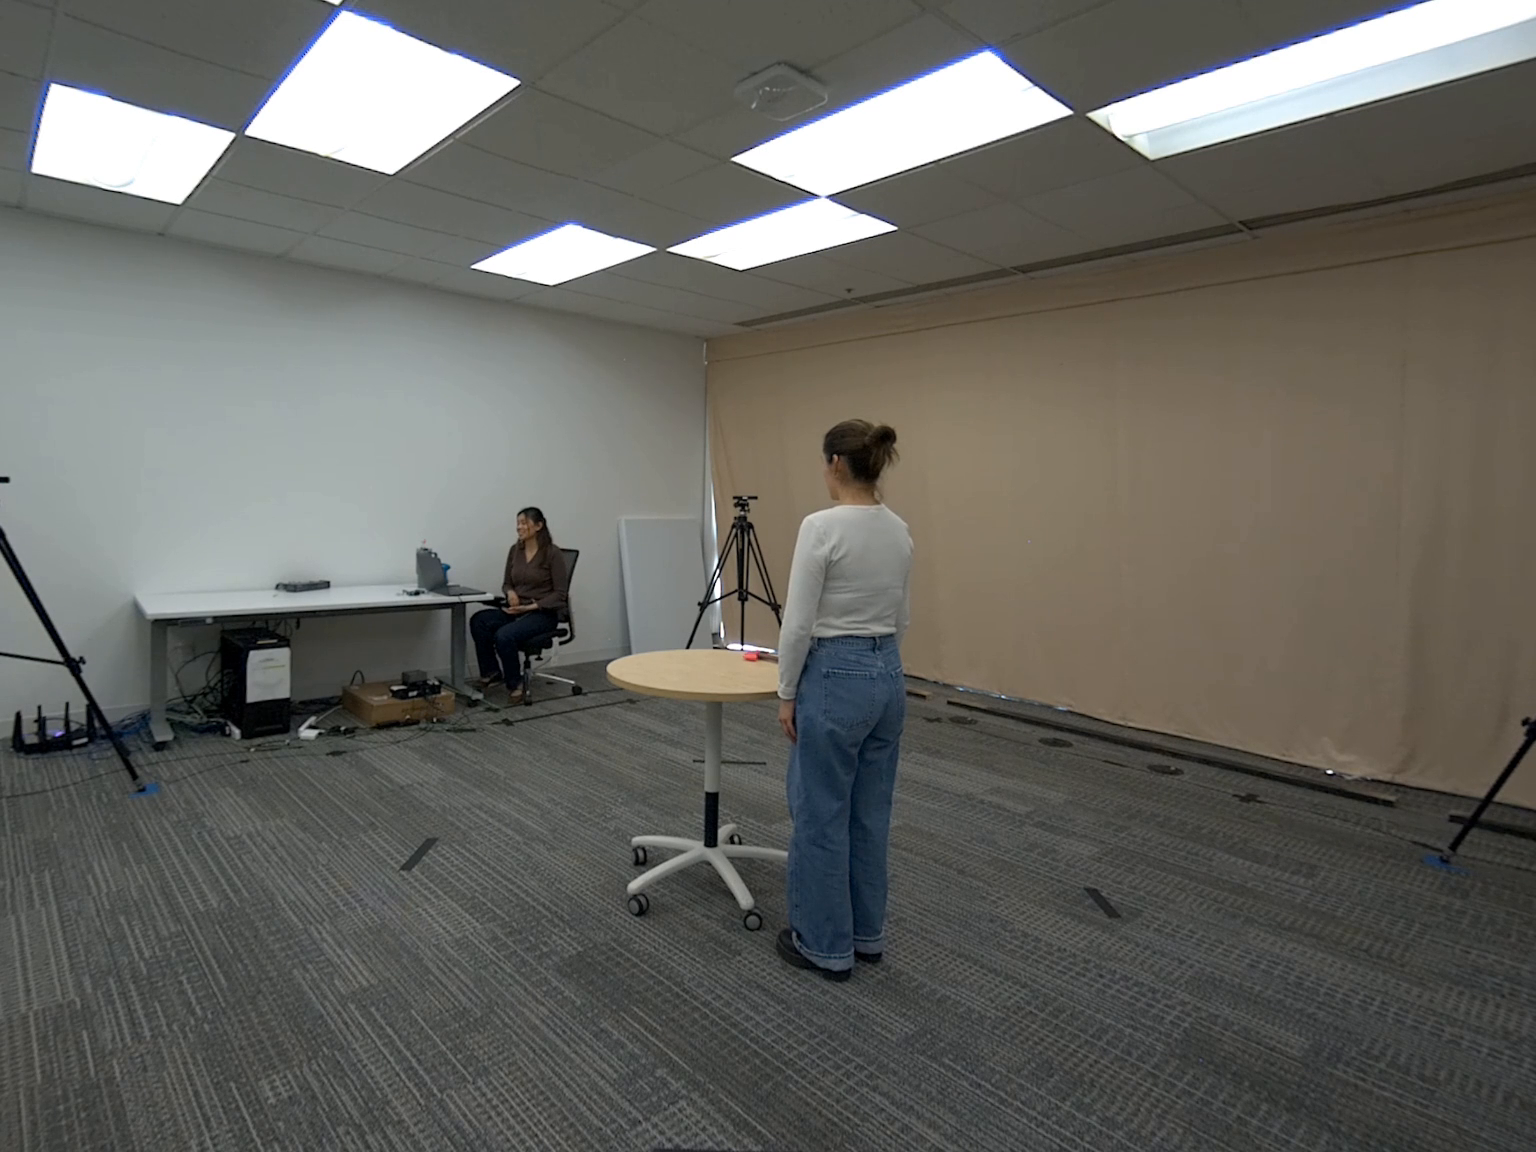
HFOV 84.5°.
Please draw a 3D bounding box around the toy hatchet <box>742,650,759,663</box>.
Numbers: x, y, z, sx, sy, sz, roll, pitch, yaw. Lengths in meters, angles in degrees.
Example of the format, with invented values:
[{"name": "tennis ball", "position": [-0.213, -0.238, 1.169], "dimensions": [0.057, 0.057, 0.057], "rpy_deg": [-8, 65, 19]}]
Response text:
[{"name": "toy hatchet", "position": [-0.006, 0.317, 3.114], "dimensions": [0.129, 0.029, 0.276], "rpy_deg": [-2, 7, -25]}]
